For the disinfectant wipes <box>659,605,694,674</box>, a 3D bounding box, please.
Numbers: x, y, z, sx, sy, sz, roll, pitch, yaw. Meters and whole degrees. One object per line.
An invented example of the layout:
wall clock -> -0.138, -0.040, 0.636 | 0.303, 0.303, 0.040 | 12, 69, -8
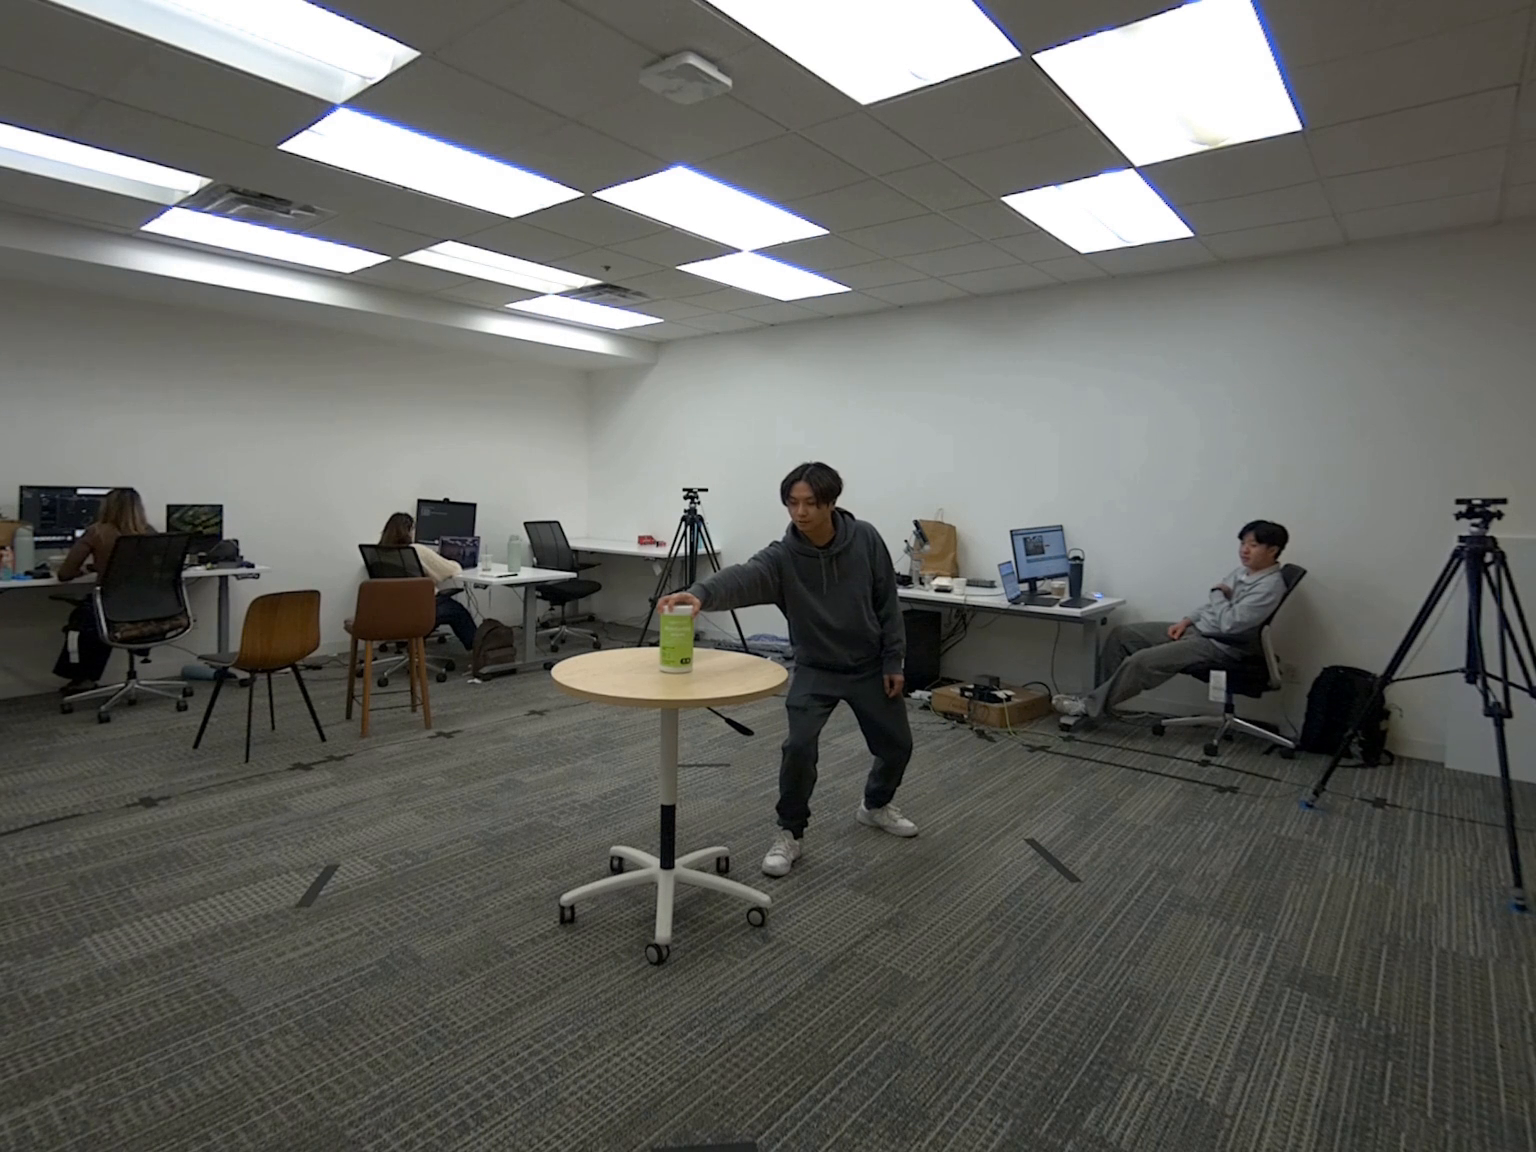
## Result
disinfectant wipes -> -0.311, 0.199, 2.760 | 0.118, 0.217, 0.118 | 0, 3, -2
